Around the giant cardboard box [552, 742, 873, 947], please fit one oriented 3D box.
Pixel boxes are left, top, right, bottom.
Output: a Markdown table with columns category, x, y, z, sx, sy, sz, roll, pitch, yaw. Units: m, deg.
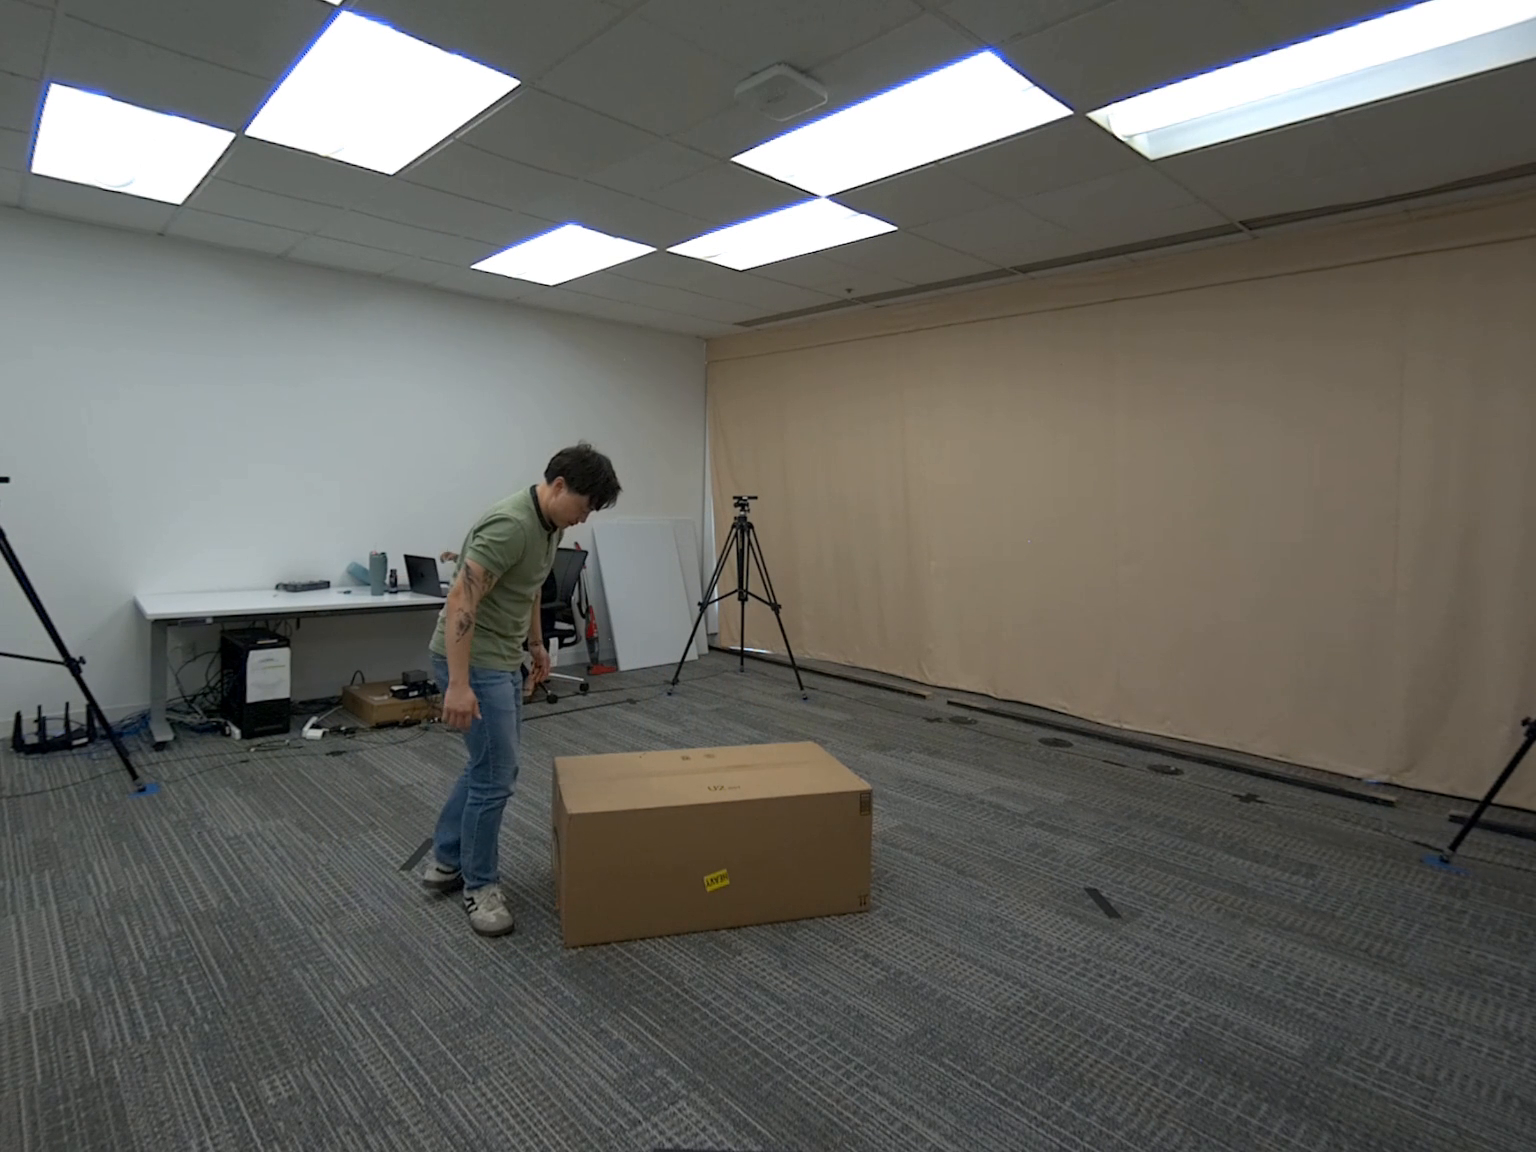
| category | x | y | z | sx | sy | sz | roll | pitch | yaw |
| --- | --- | --- | --- | --- | --- | --- | --- | --- | --- |
| giant cardboard box | -0.227 | 0.898 | 2.966 | 1.013 | 0.425 | 0.587 | 0 | 5 | -17 |
